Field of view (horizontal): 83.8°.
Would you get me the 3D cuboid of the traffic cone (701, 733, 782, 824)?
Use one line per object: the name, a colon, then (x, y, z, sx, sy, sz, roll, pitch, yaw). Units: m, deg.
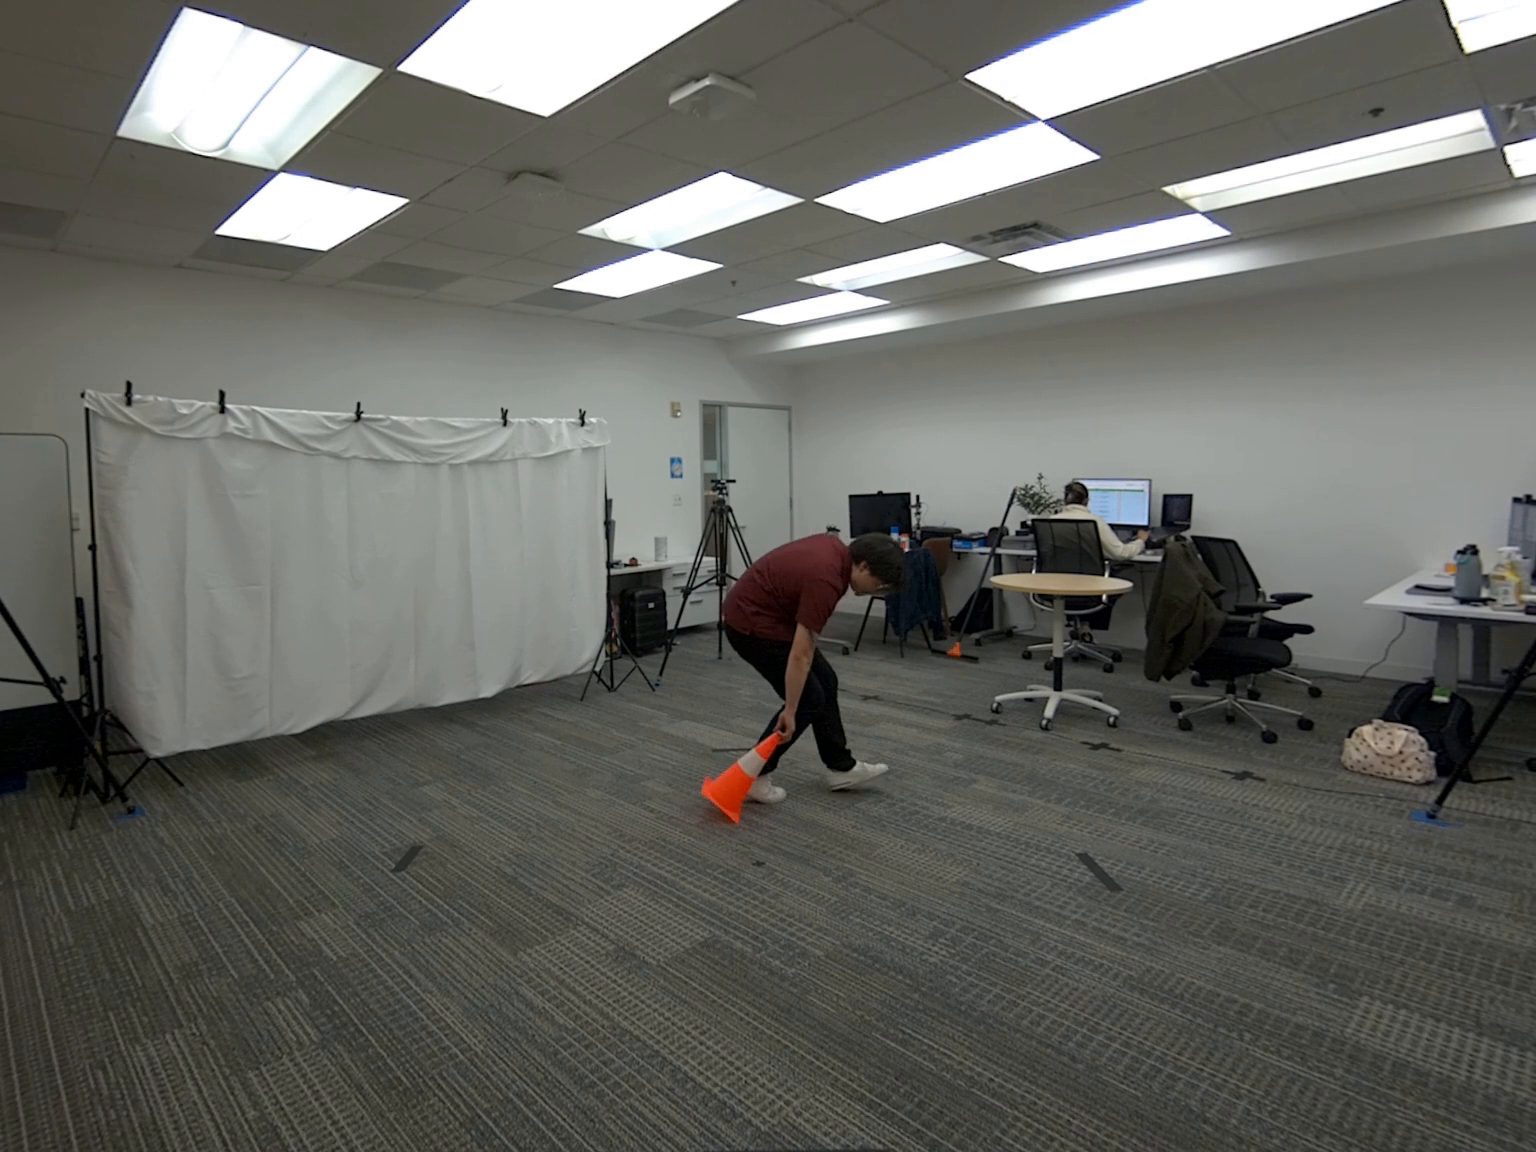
traffic cone: (-0.080, 0.793, 3.562, 0.206, 0.383, 0.203, 44, 4, 7)
